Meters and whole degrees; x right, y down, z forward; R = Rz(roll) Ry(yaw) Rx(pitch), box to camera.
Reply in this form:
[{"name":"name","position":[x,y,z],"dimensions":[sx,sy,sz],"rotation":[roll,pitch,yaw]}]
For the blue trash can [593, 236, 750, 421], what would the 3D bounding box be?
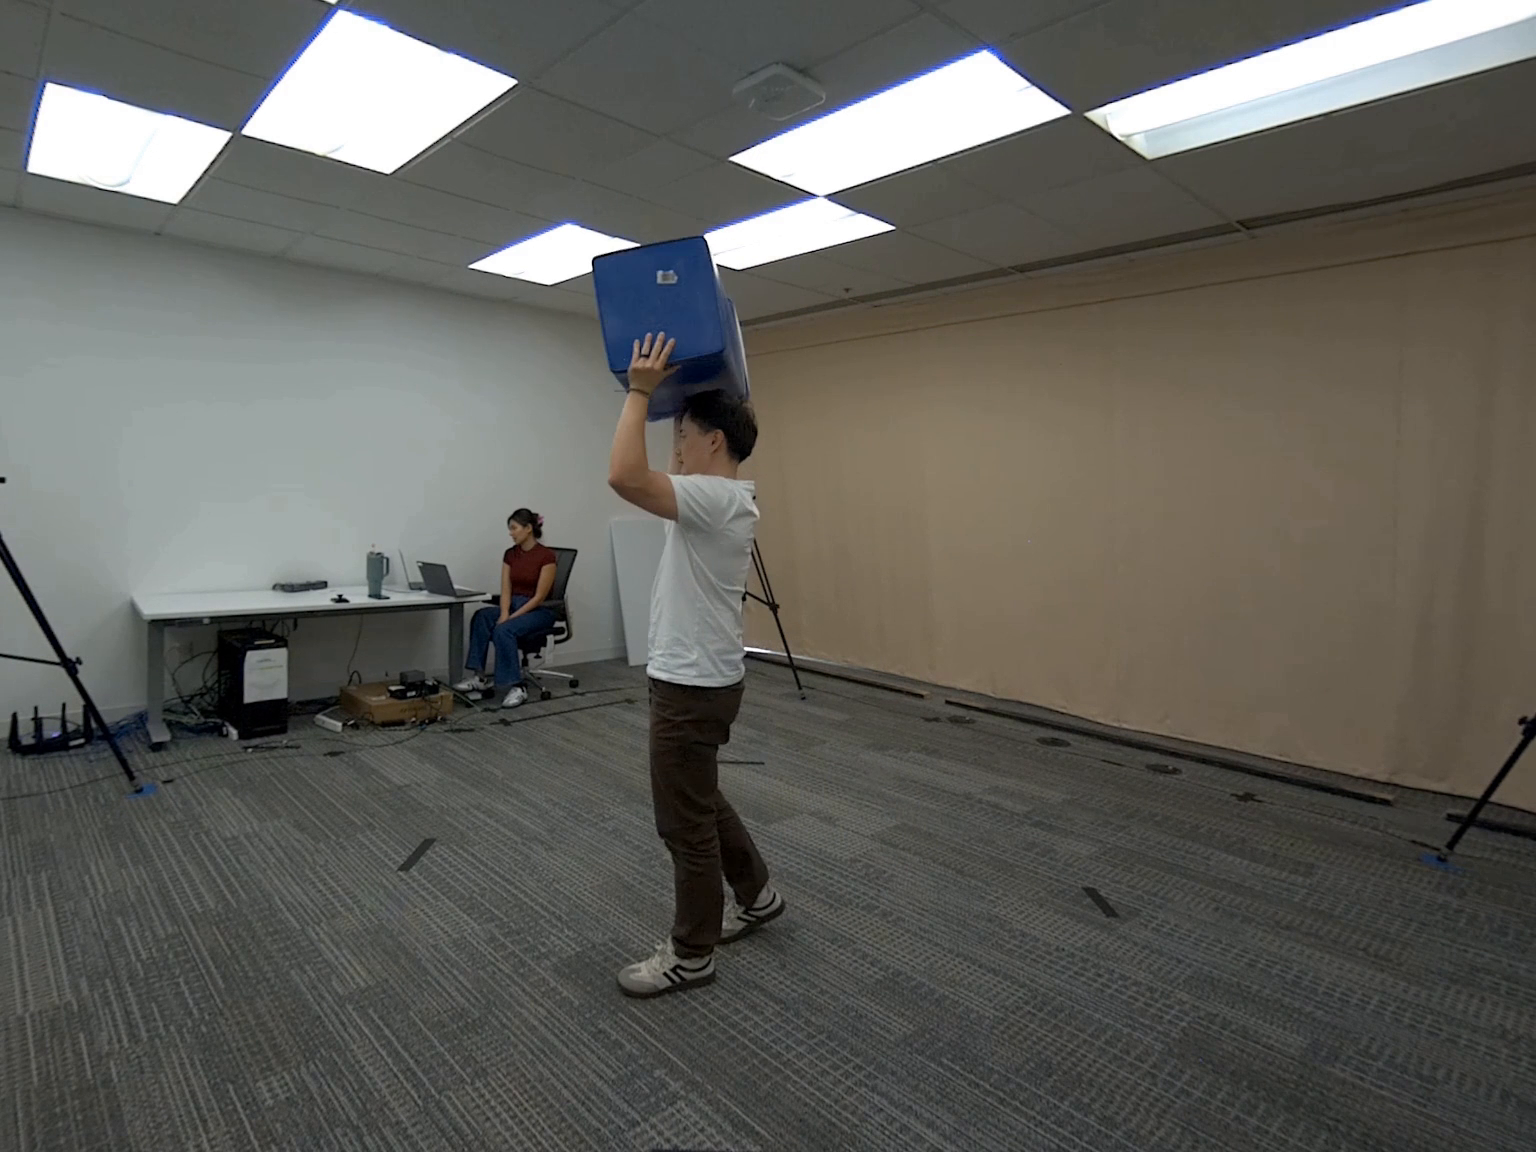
[{"name":"blue trash can","position":[-0.286,-0.712,2.470],"dimensions":[0.374,0.378,0.713],"rotation":[-10,1,1]}]
